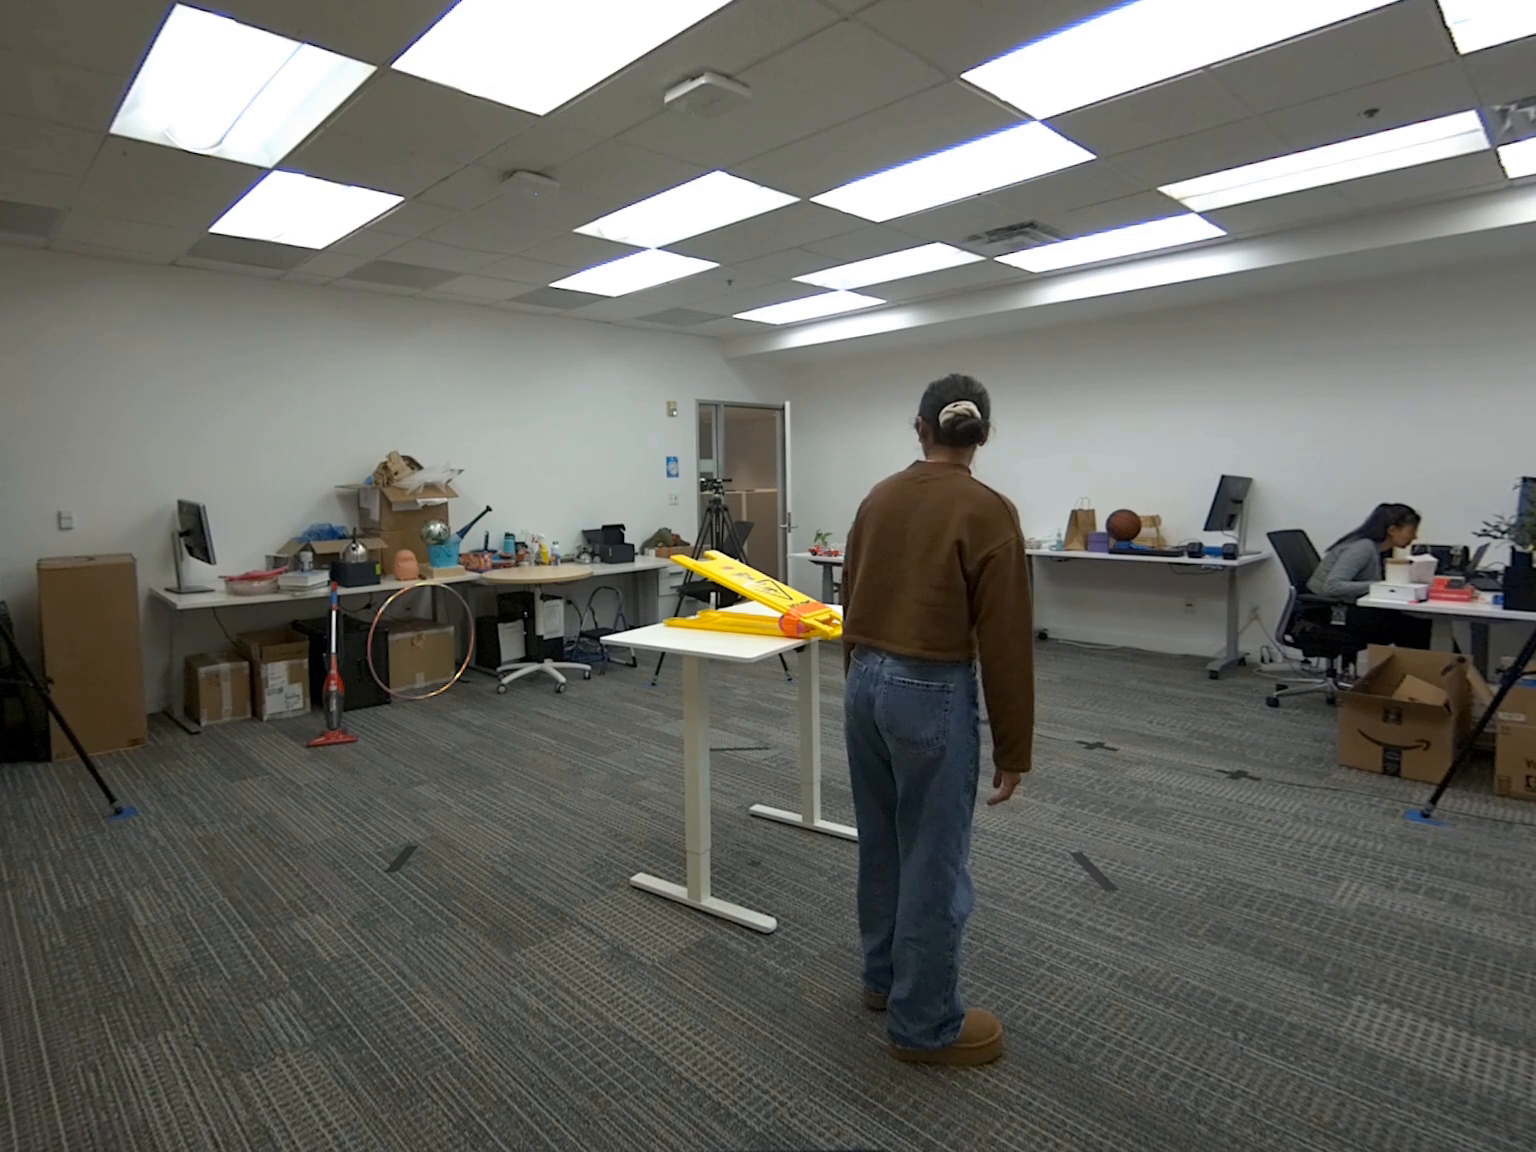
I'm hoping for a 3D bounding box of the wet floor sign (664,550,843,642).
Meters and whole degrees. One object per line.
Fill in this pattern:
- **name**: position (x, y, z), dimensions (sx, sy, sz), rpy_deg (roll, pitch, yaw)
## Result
- **wet floor sign**: position (-0.010, 0.112, 2.941), dimensions (0.666, 0.288, 0.275), rpy_deg (13, 11, 32)
